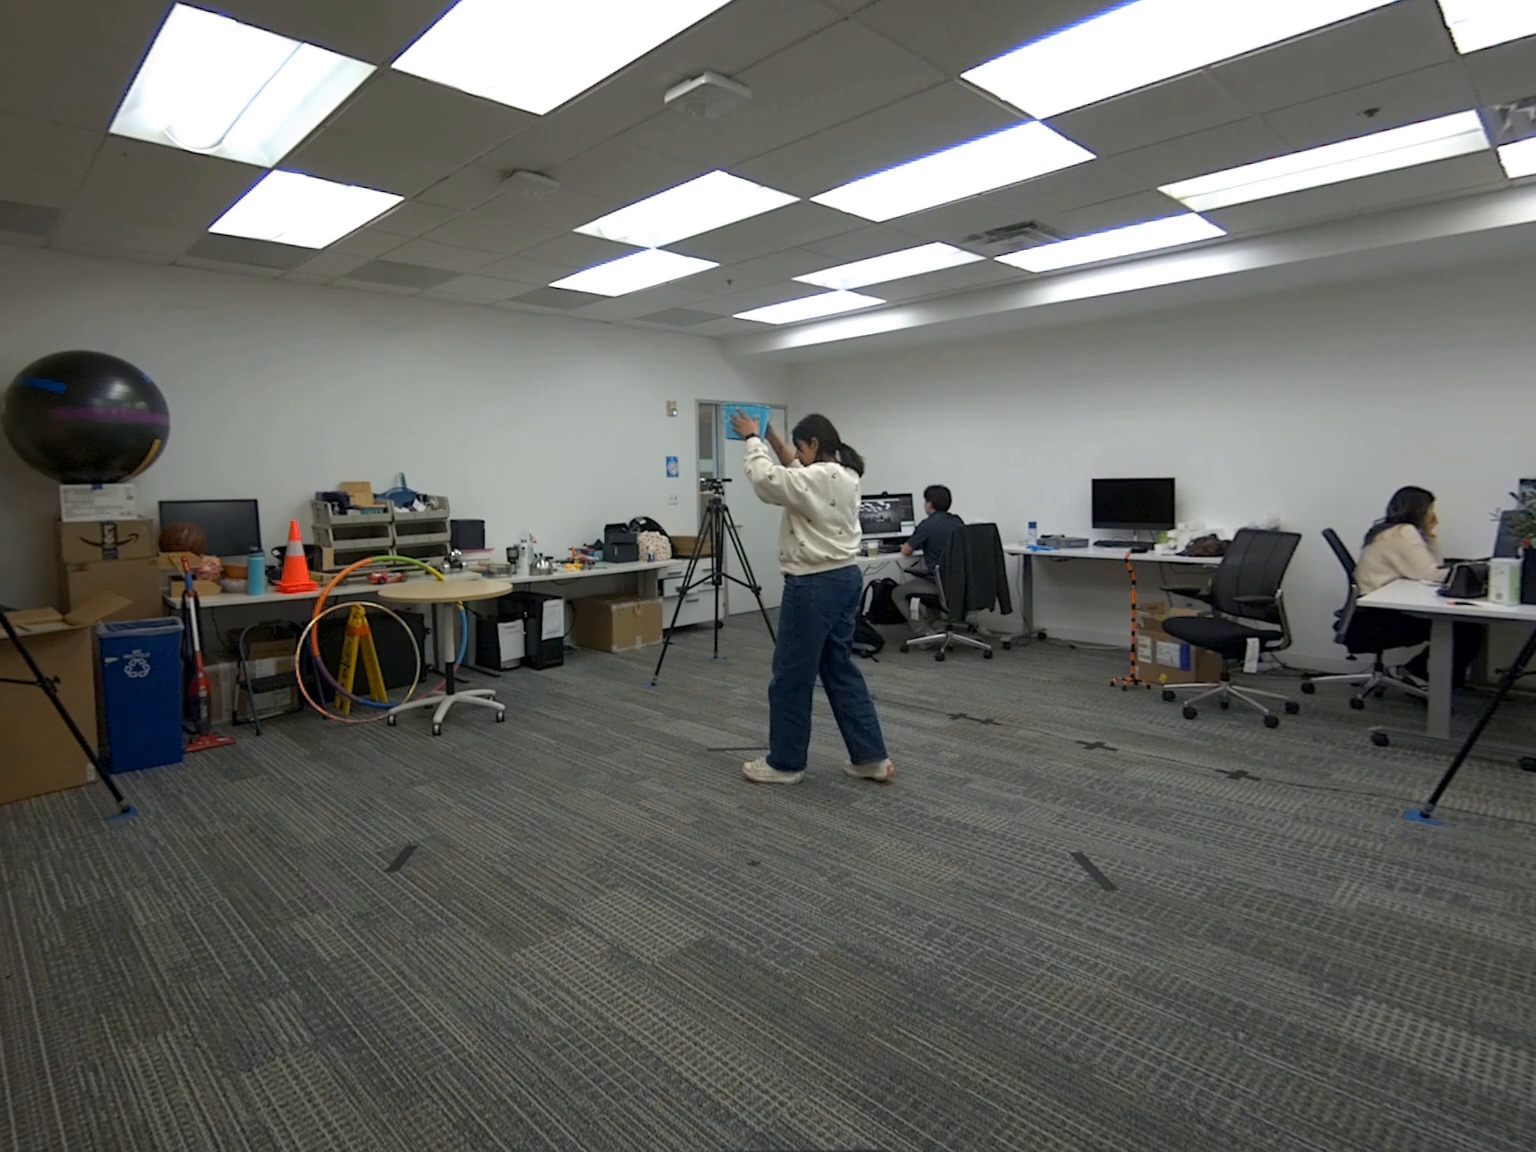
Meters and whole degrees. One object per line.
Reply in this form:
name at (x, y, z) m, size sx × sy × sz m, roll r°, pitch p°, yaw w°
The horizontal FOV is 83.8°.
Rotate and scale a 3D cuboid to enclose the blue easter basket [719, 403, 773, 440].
blue easter basket at (-0.095, -0.721, 3.989) m, size 0.243 × 0.155 × 0.245 m, roll 4°, pitch 7°, yaw -2°
